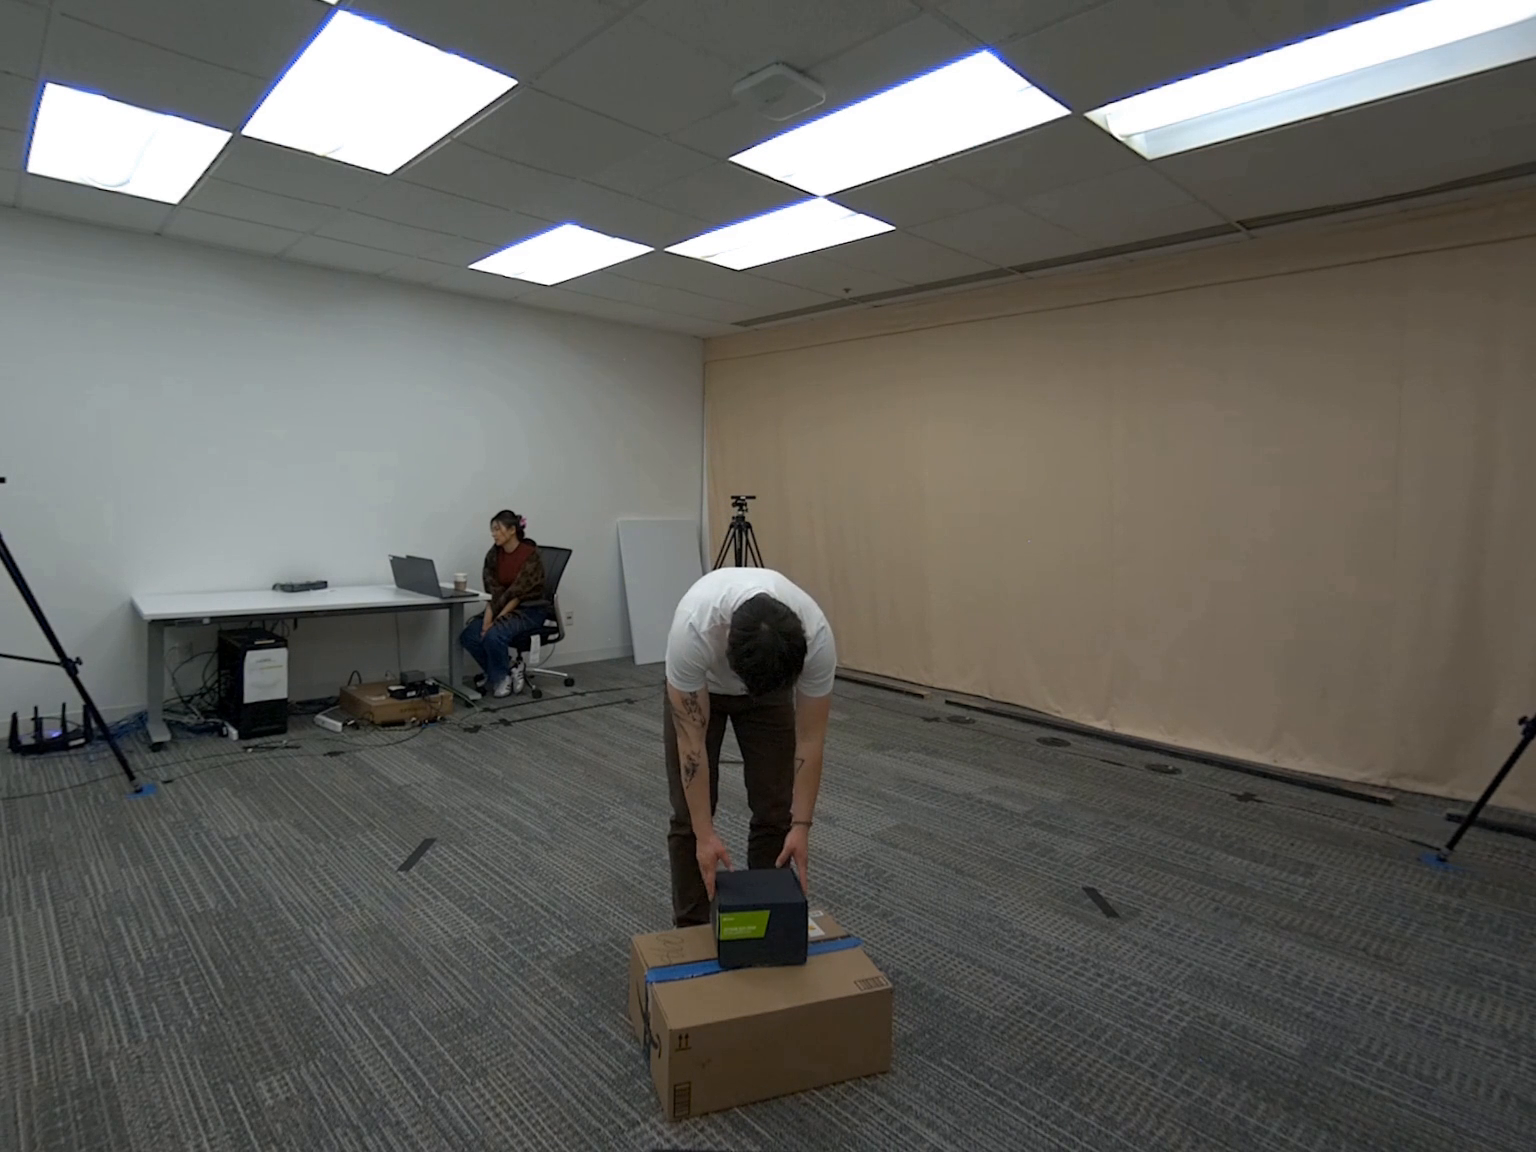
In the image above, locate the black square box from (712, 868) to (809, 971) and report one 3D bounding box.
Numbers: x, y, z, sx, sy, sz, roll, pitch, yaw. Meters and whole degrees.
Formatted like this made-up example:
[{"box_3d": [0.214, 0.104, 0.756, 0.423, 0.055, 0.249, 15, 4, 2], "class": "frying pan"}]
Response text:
[{"box_3d": [-0.035, 0.880, 2.208, 0.226, 0.155, 0.219, 0, 4, -8], "class": "black square box"}]
